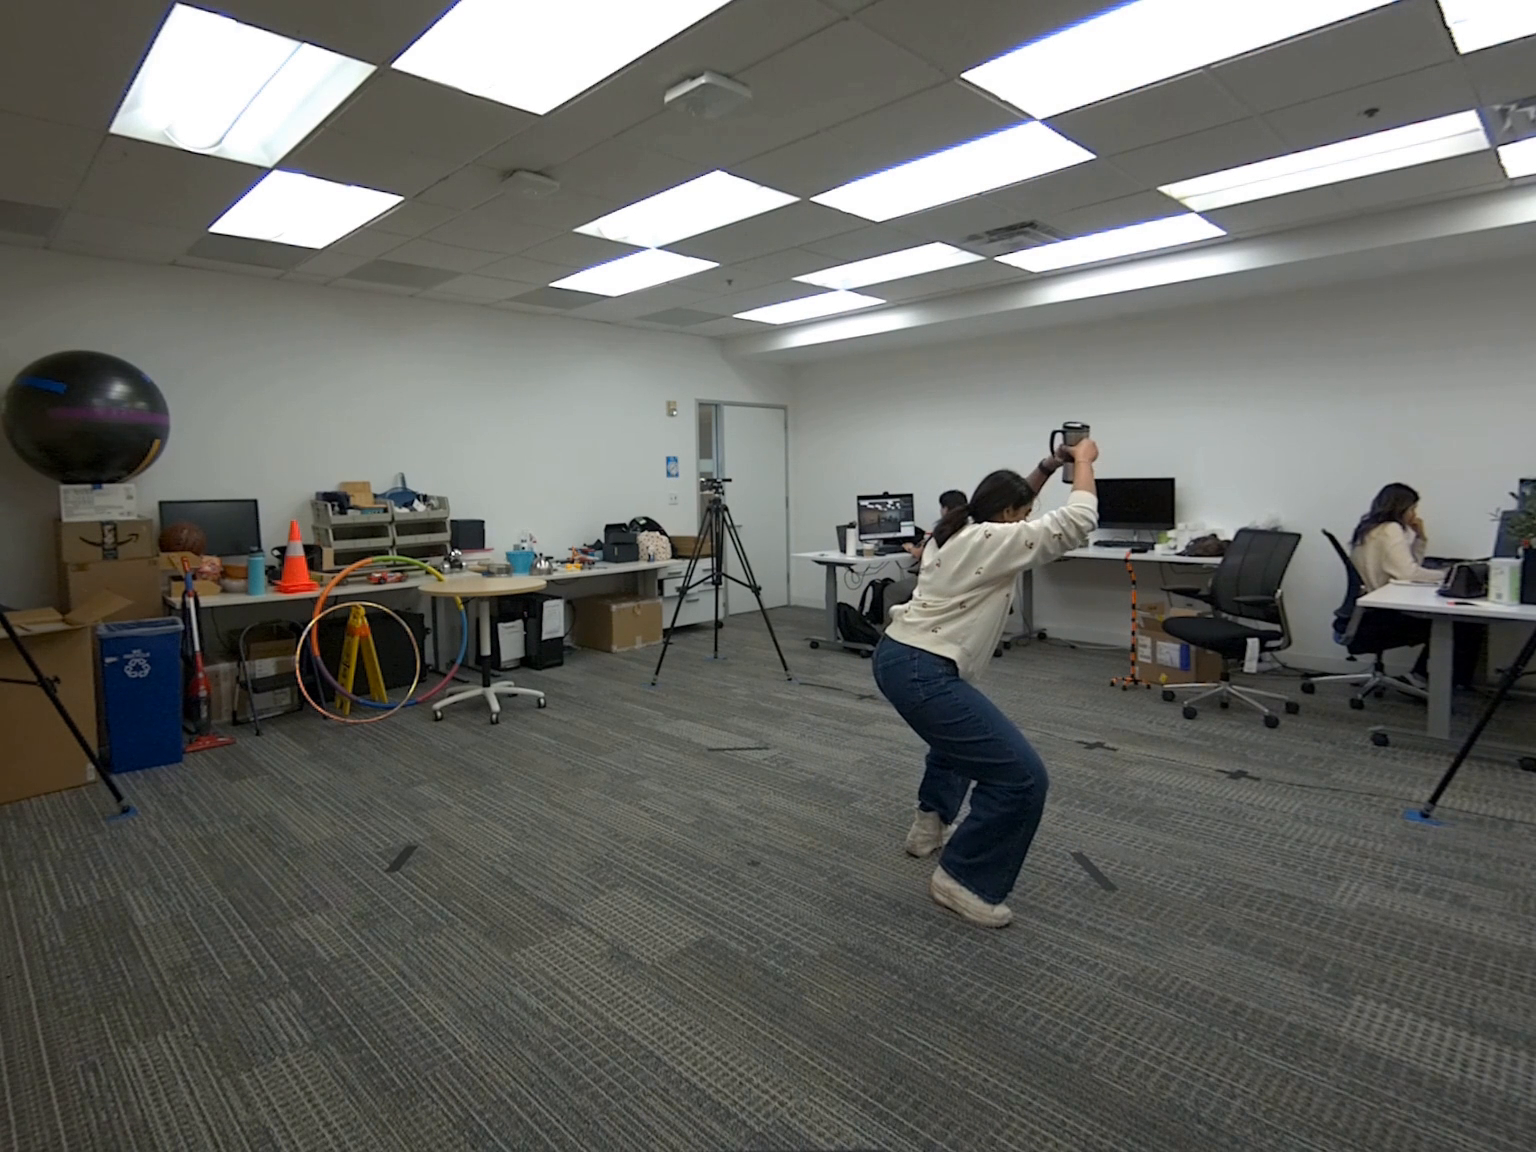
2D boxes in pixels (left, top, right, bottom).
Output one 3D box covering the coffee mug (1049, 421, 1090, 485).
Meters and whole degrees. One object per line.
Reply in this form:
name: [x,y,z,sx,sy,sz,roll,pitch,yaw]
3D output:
coffee mug: [1.061,-0.420,2.914,0.120,0.200,0.090,-12,16,-19]
